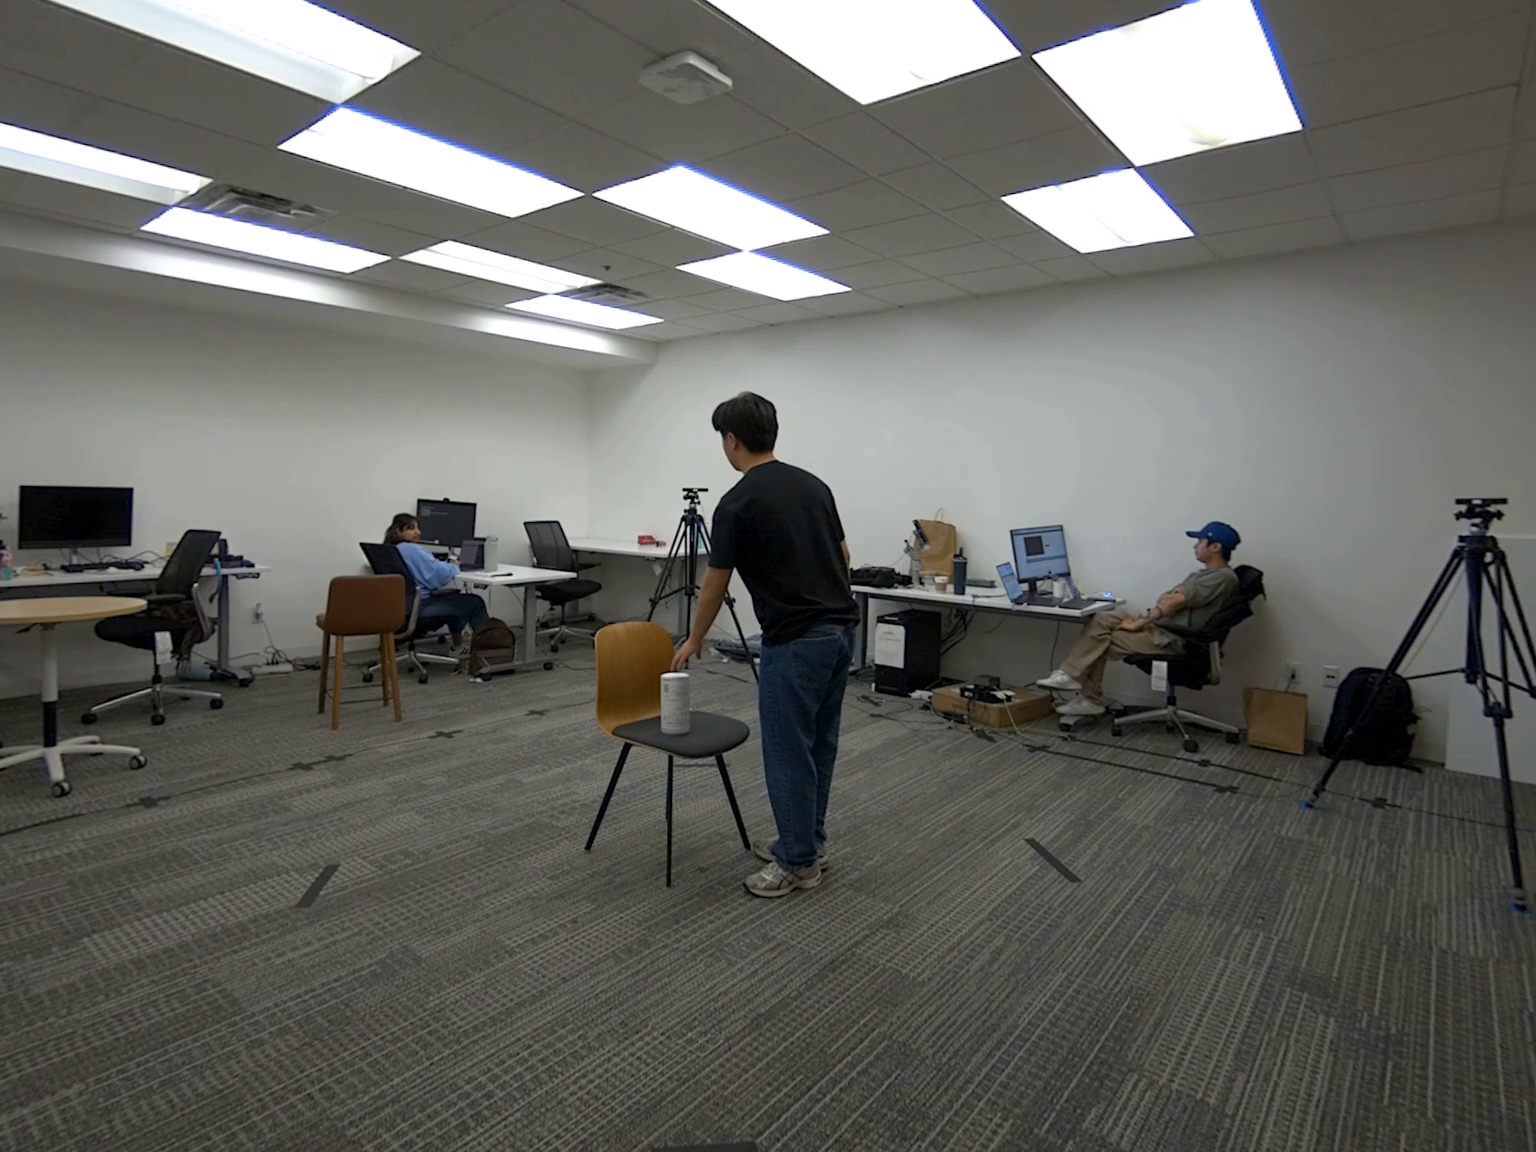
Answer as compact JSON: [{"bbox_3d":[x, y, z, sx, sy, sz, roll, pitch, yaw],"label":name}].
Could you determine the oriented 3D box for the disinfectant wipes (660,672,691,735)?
[{"bbox_3d":[-0.361,0.478,3.194,0.118,0.217,0.118,0,0,-2],"label":"disinfectant wipes"}]
